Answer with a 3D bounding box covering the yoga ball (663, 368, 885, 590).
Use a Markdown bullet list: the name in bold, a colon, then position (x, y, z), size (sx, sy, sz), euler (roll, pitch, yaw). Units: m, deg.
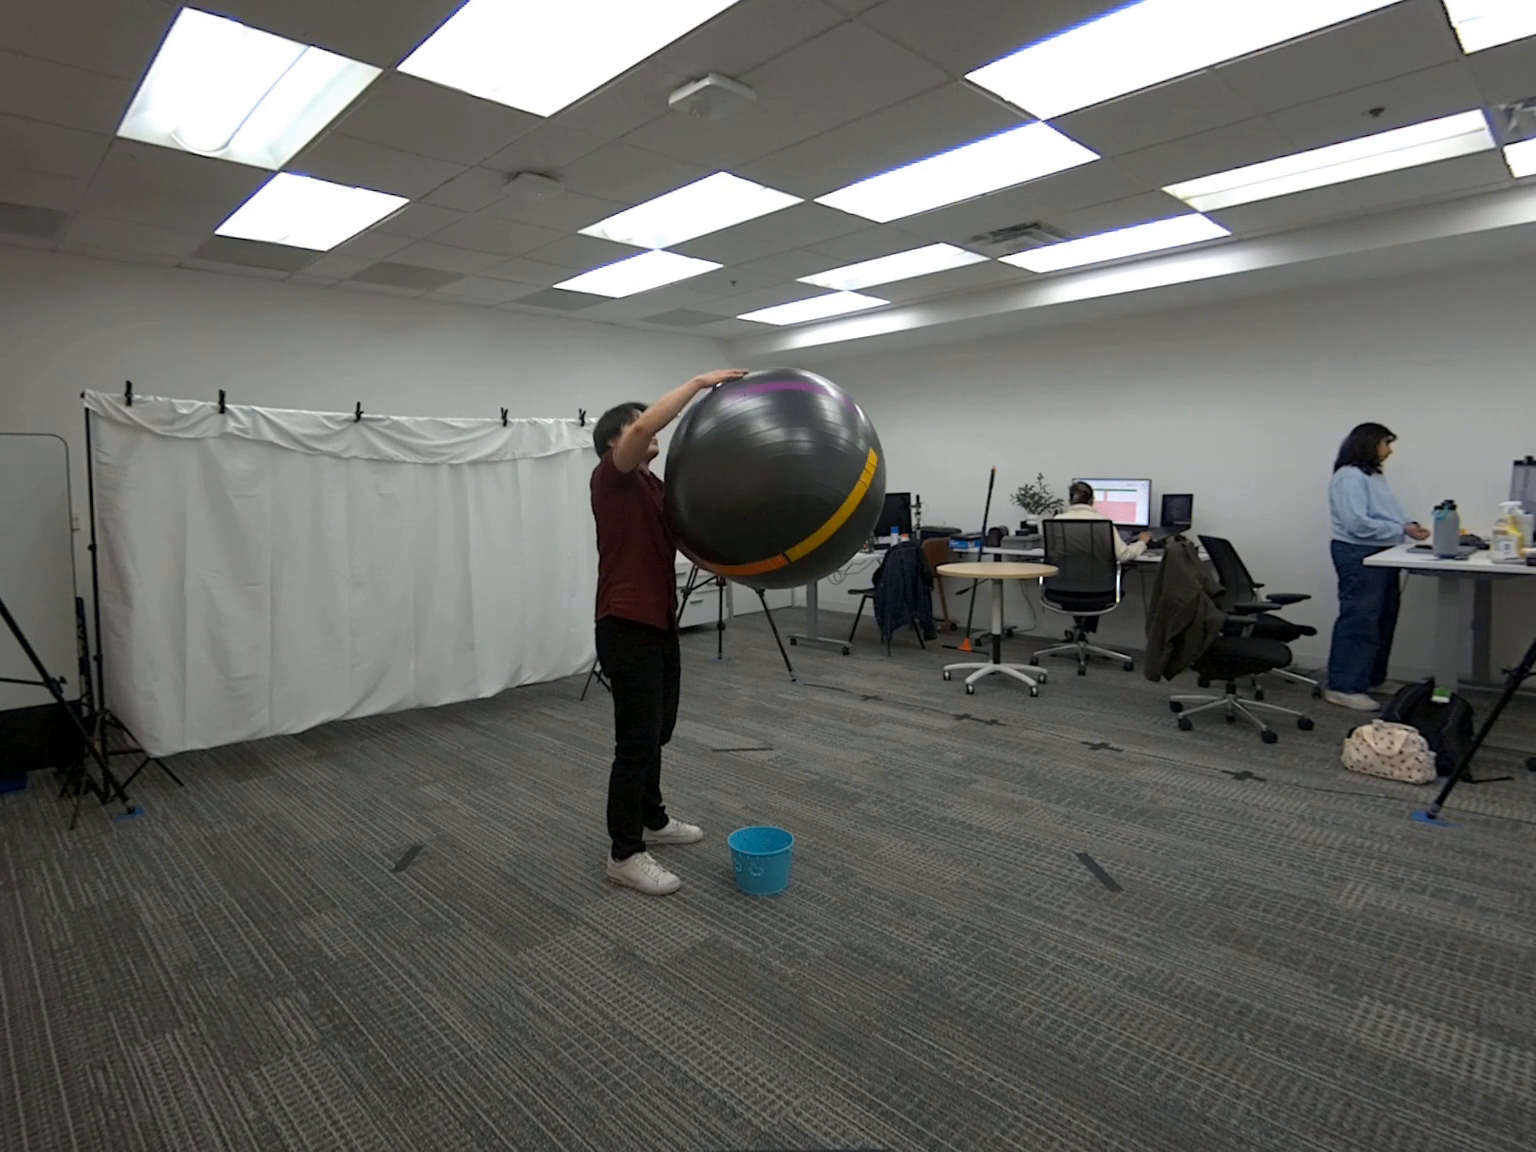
- **yoga ball**: position (0.025, -0.320, 2.933), size (0.757, 0.755, 0.762), euler (-1, 5, -2)
